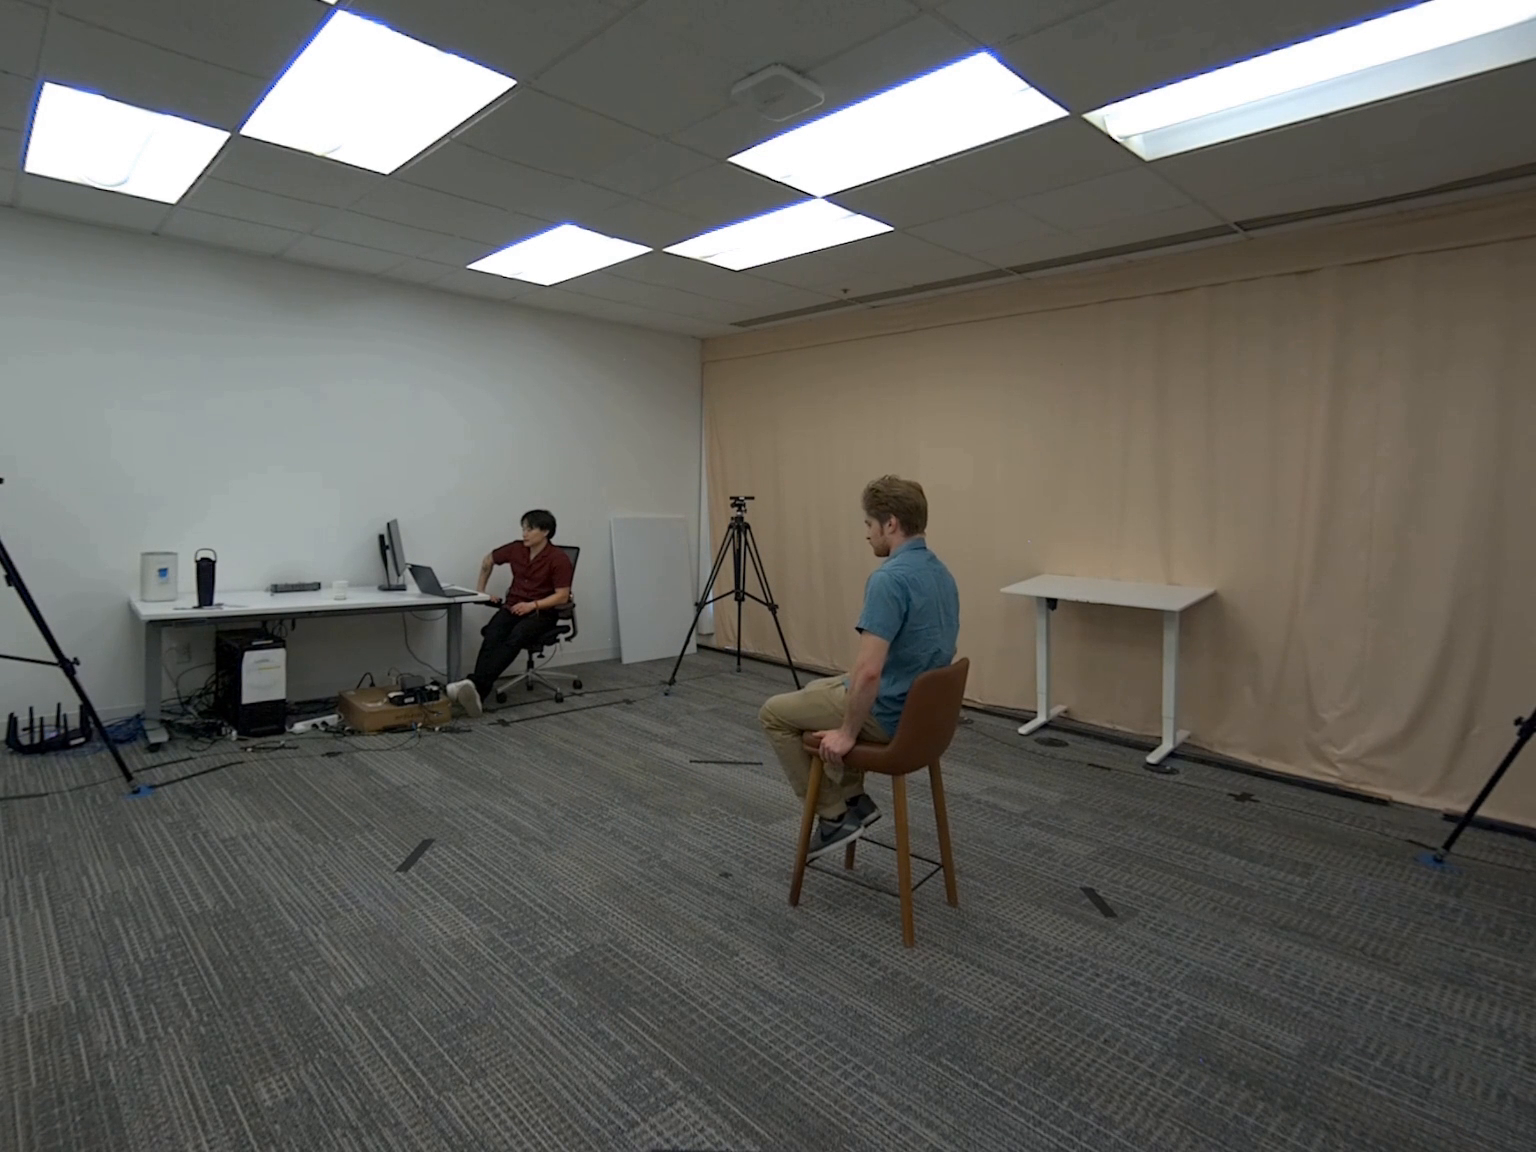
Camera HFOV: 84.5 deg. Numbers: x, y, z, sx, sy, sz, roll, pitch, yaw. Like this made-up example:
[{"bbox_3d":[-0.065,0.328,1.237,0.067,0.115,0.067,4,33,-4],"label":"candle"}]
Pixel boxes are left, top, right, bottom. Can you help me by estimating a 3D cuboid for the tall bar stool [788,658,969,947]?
[{"bbox_3d":[0.384,0.703,2.871,0.479,0.886,0.447,8,7,37],"label":"tall bar stool"}]
